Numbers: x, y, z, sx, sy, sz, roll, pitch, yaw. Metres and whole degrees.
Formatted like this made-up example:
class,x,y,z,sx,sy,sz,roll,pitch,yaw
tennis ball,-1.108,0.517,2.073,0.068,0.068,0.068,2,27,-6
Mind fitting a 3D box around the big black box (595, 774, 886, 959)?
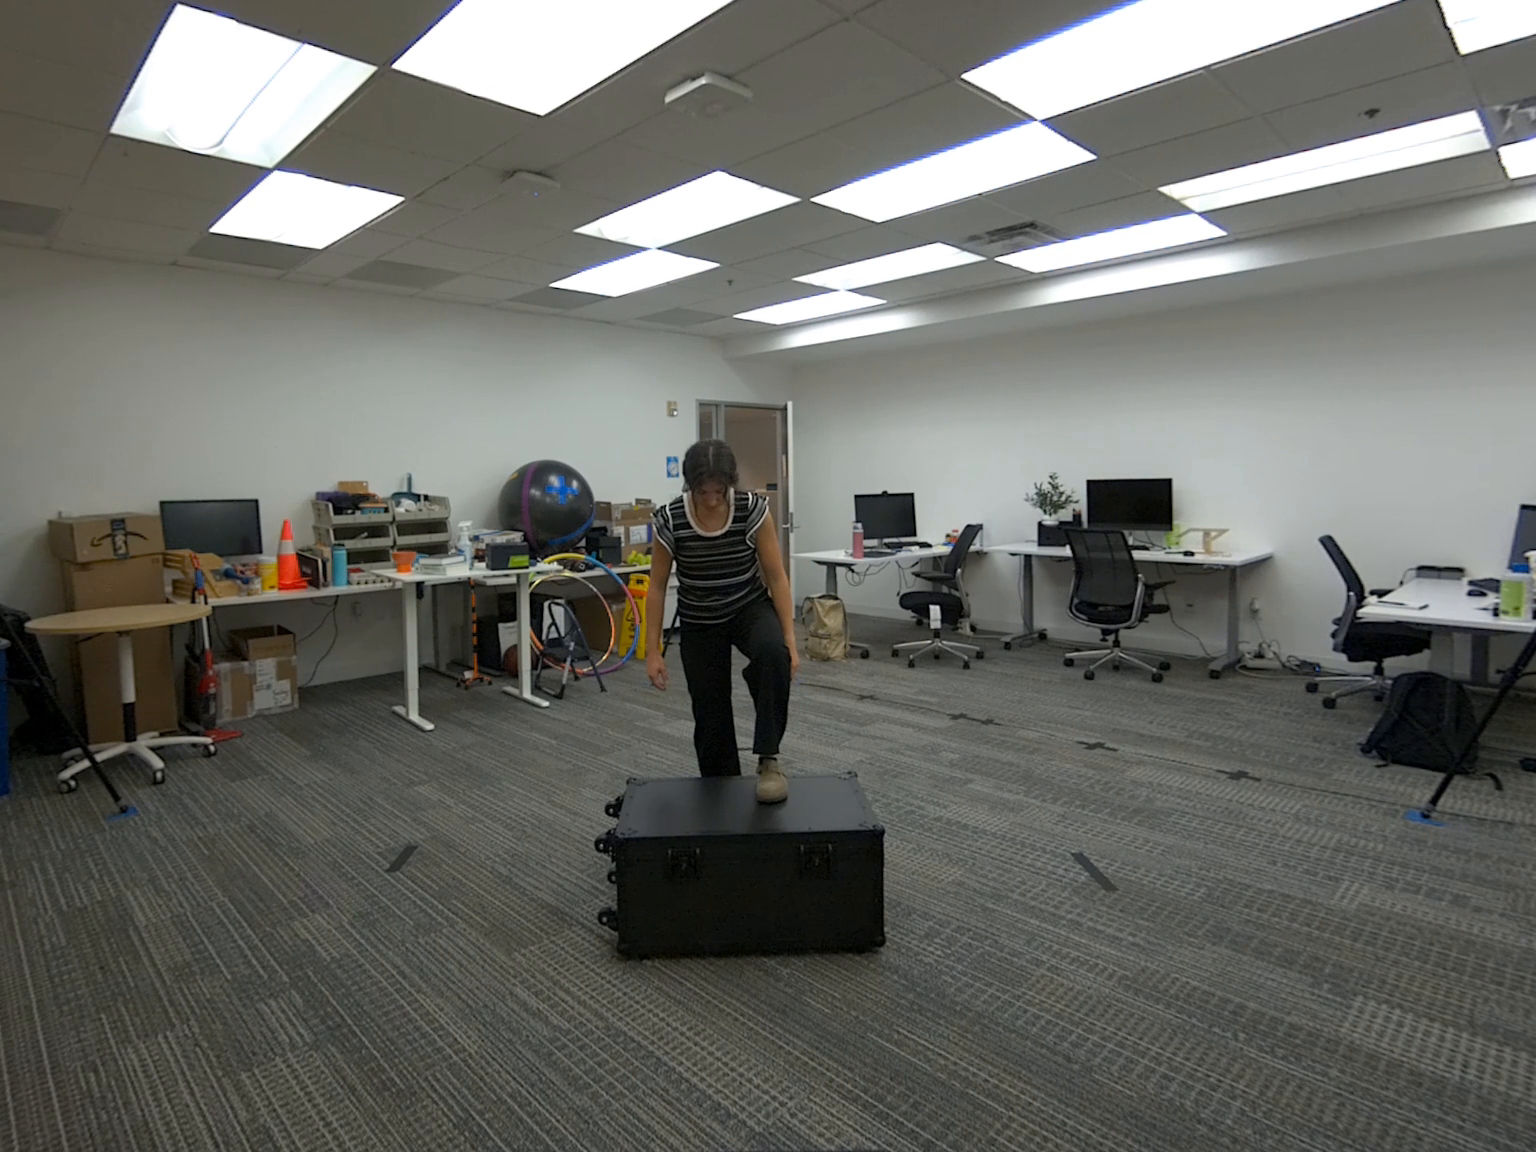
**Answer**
class,x,y,z,sx,sy,sz,roll,pitch,yaw
big black box,-0.098,0.897,2.715,0.859,0.395,0.525,-1,5,-3
